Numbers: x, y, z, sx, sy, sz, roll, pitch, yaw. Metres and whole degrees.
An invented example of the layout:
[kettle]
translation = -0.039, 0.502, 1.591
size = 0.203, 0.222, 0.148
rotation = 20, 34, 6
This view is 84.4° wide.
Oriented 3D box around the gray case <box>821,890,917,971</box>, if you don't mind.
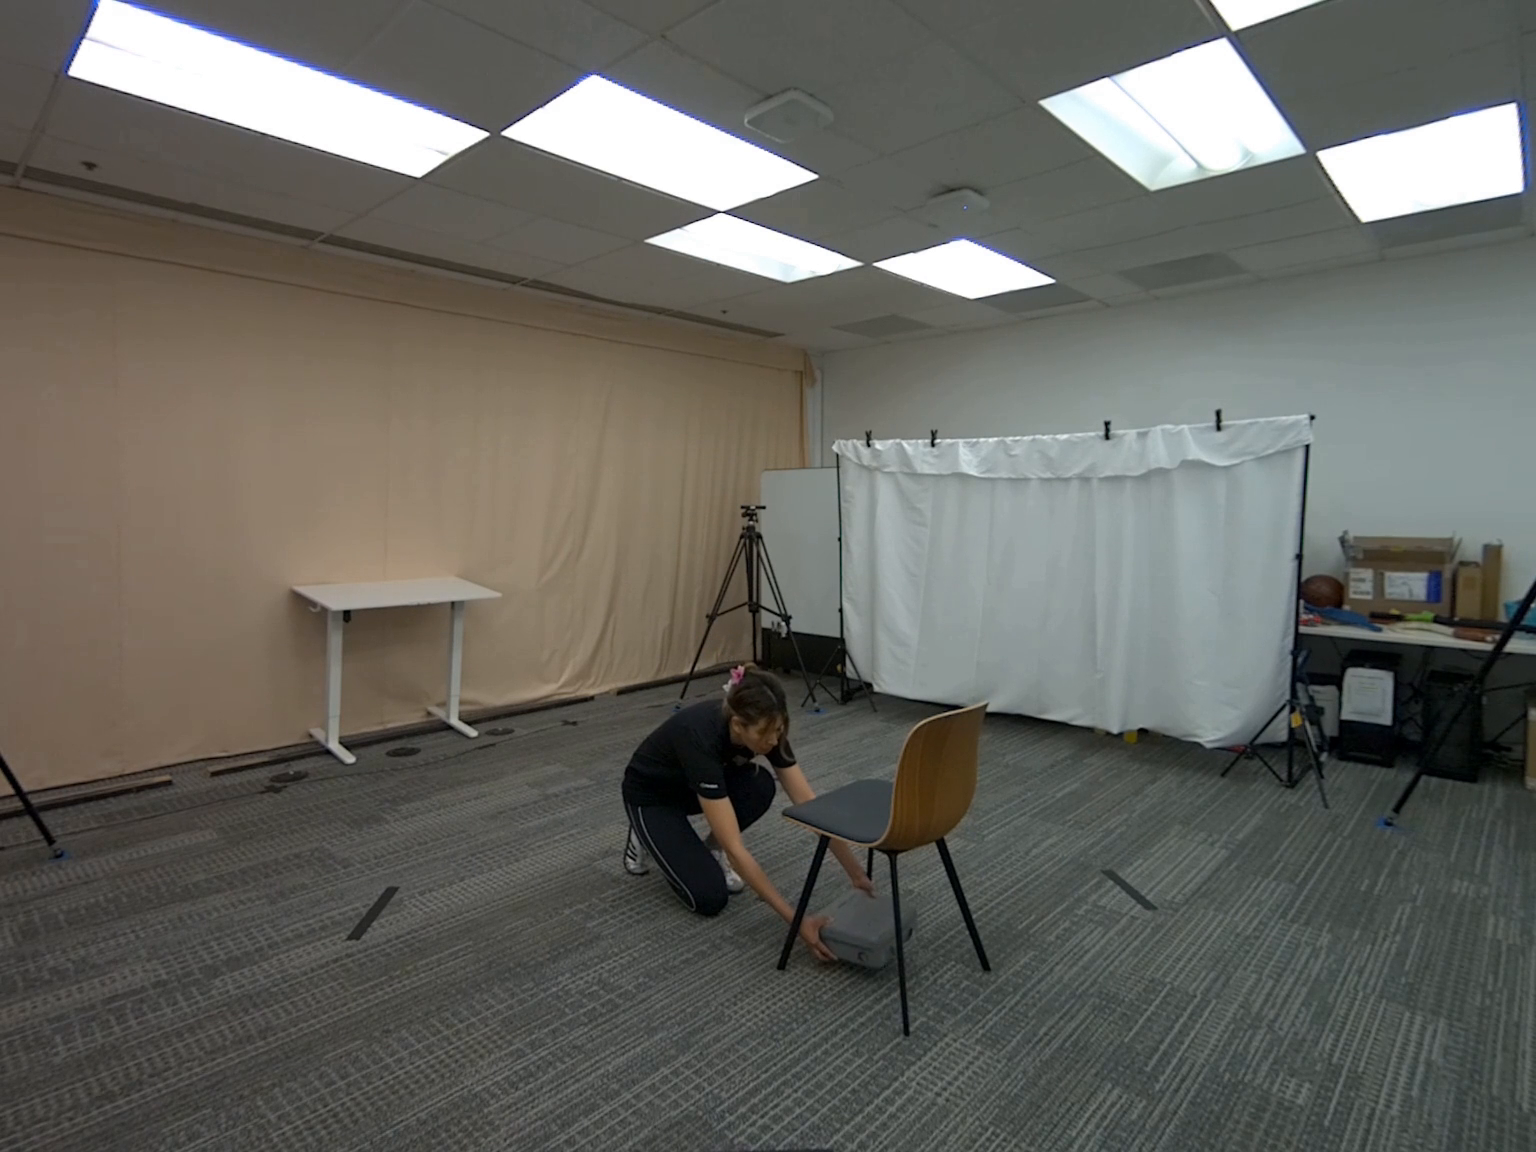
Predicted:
[gray case]
translation = 0.302, 1.069, 2.561
size = 0.269, 0.104, 0.249
rotation = -2, 6, 44
